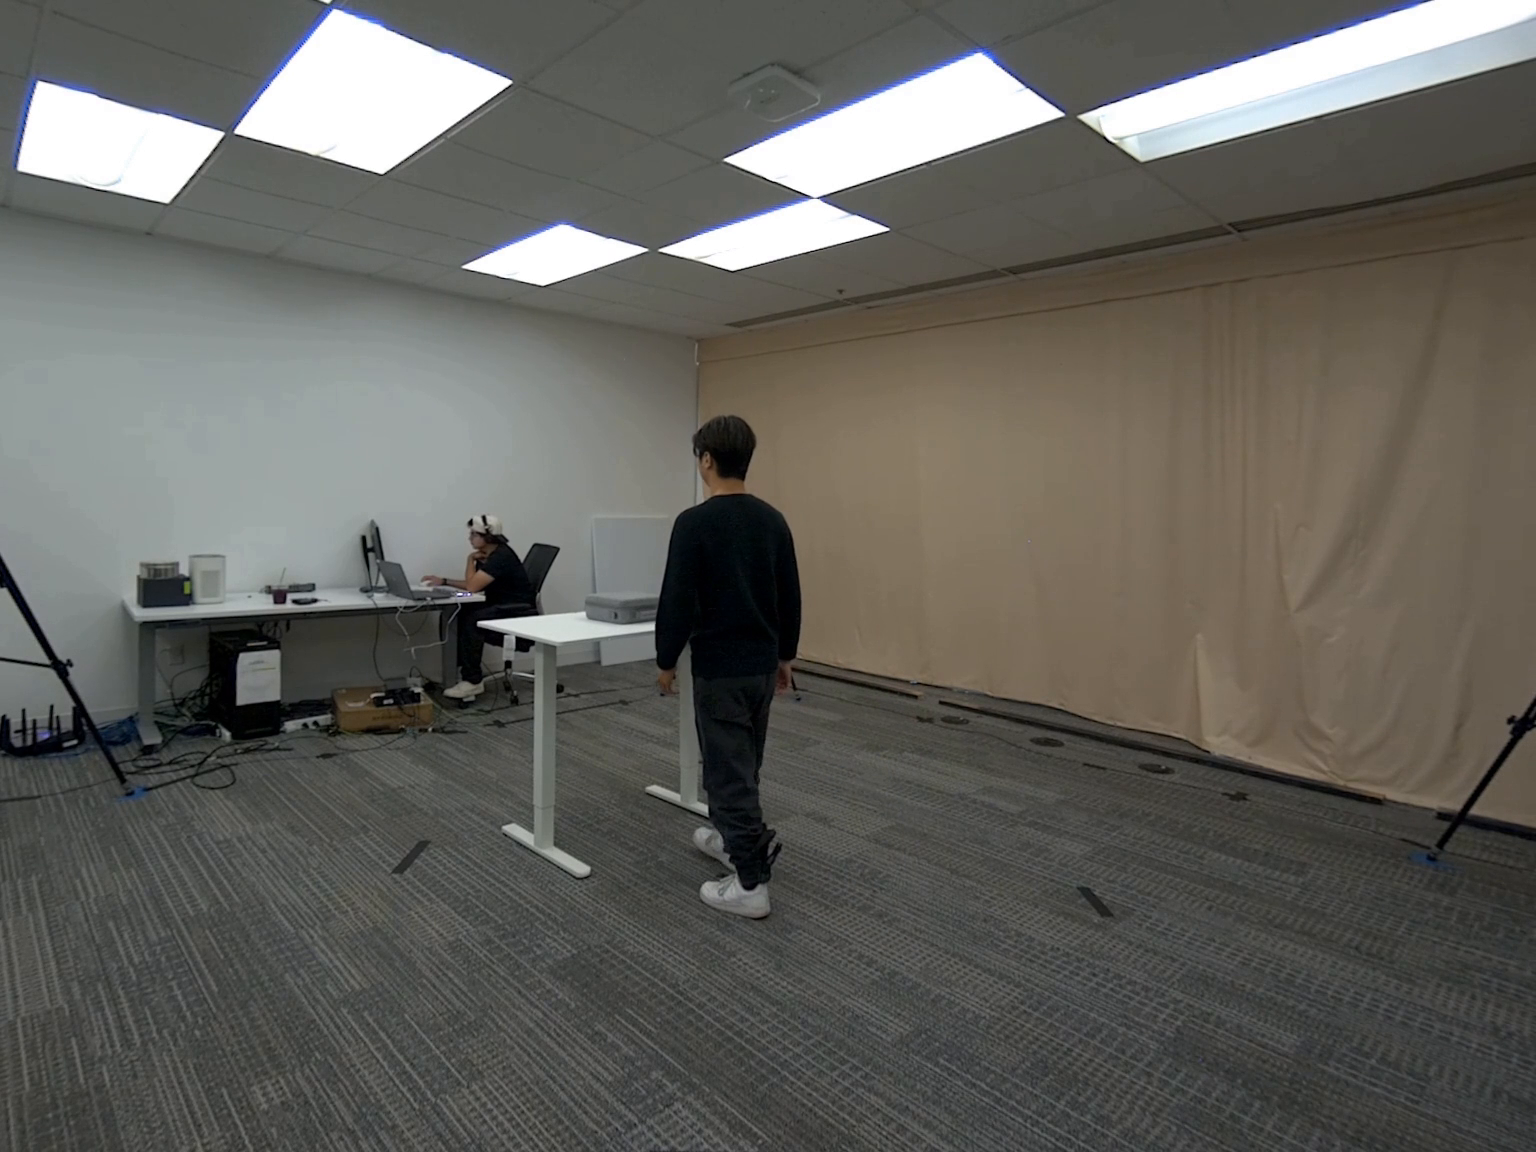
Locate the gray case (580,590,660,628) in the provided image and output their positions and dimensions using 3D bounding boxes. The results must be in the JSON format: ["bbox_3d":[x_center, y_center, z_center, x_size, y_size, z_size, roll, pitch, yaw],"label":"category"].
[{"bbox_3d":[-0.592,0.130,3.490,0.267,0.104,0.251,6,6,41],"label":"gray case"}]
